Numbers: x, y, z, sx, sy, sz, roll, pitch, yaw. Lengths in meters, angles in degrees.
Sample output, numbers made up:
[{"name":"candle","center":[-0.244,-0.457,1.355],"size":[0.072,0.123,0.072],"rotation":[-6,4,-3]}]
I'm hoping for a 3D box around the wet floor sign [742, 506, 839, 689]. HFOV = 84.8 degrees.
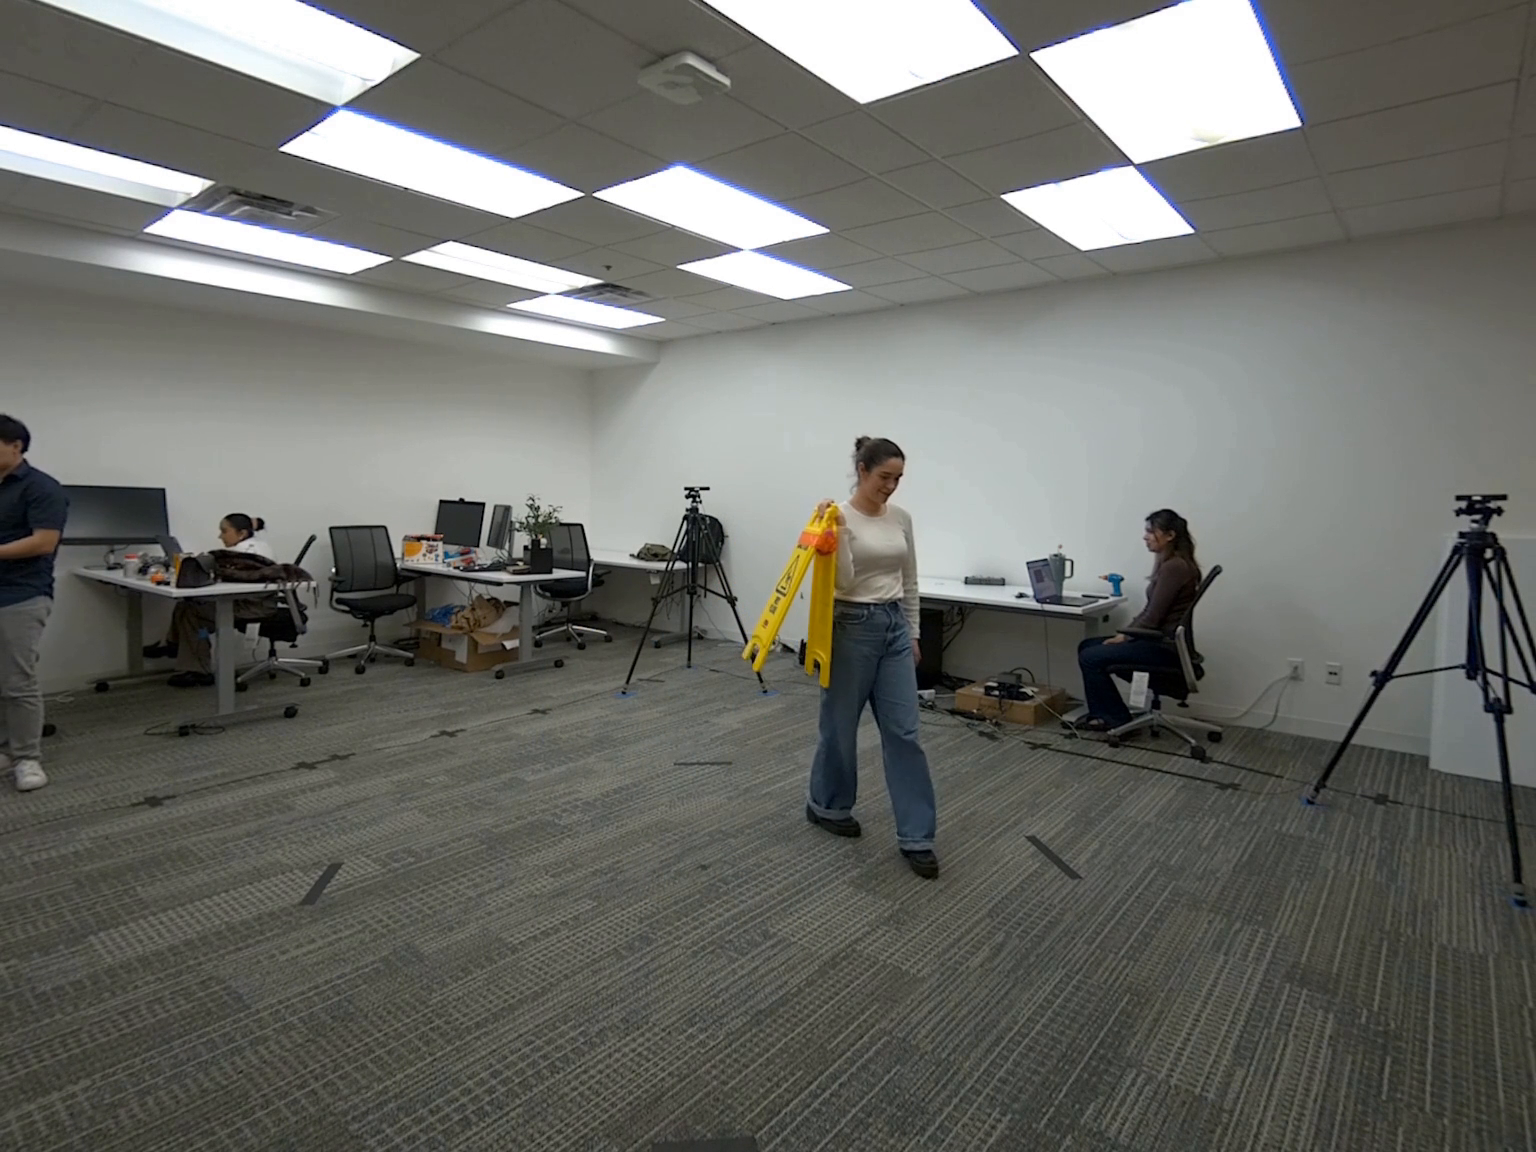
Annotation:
[{"name":"wet floor sign","center":[0.138,0.035,3.148],"size":[0.285,0.645,0.287],"rotation":[14,2,-14]}]
